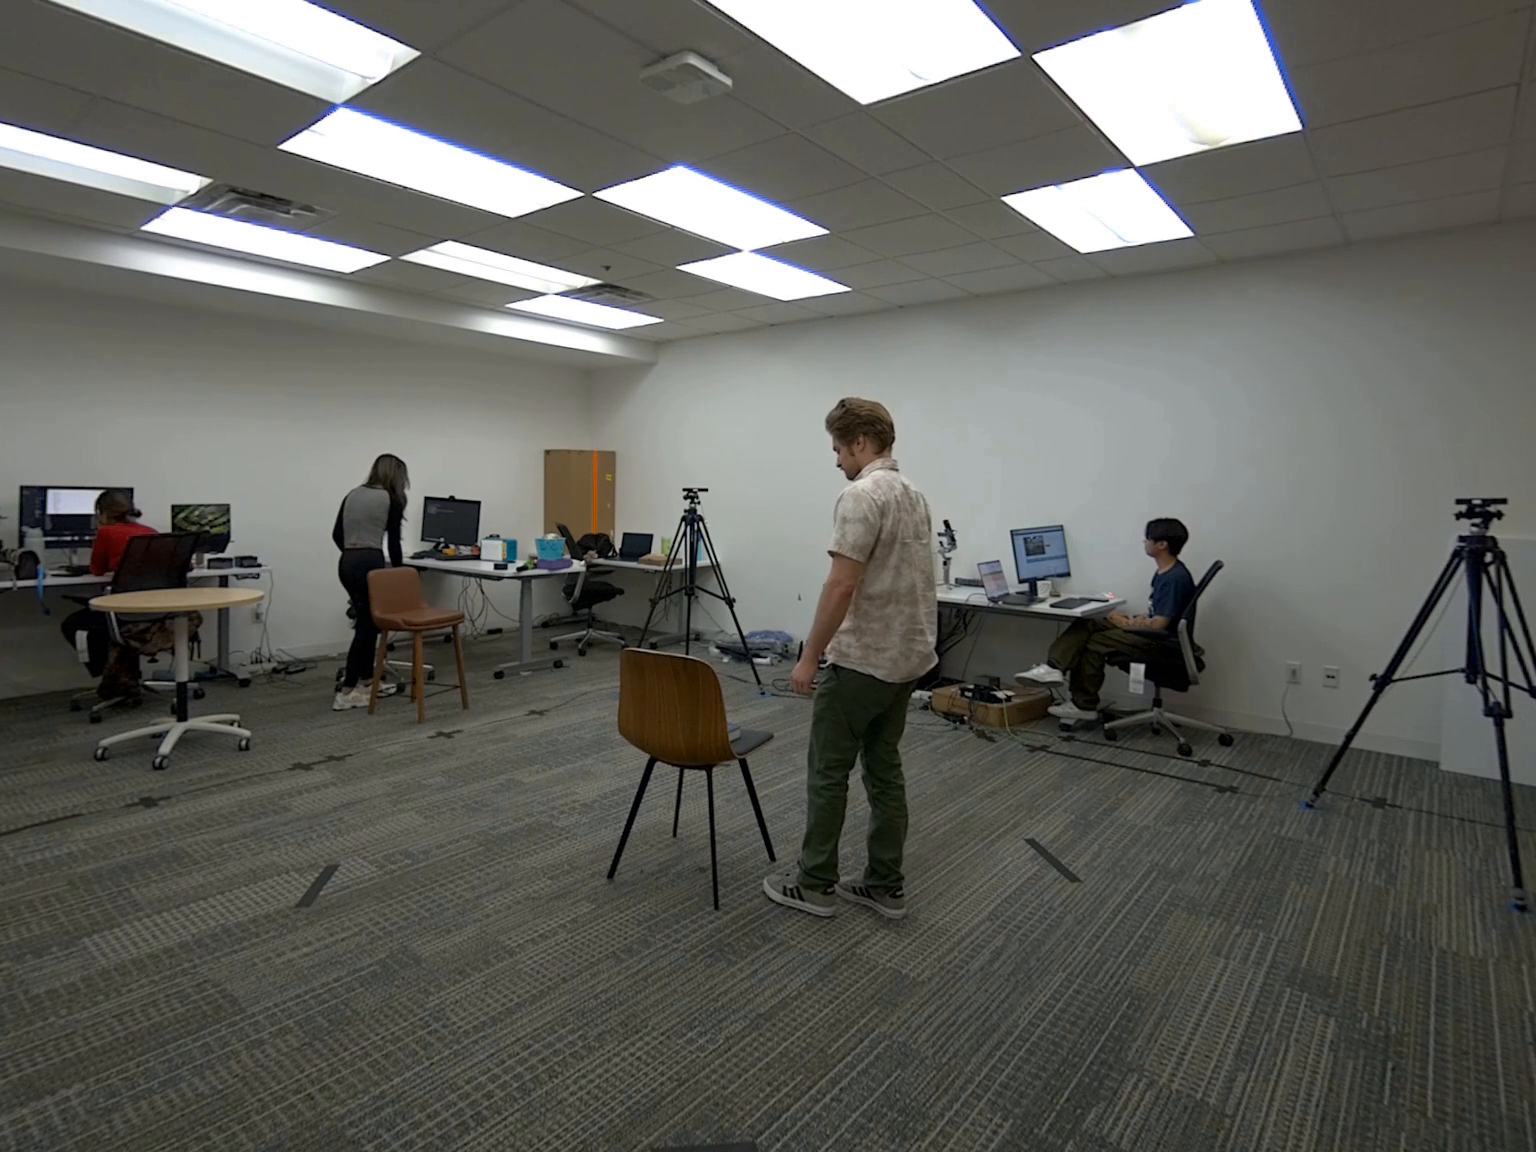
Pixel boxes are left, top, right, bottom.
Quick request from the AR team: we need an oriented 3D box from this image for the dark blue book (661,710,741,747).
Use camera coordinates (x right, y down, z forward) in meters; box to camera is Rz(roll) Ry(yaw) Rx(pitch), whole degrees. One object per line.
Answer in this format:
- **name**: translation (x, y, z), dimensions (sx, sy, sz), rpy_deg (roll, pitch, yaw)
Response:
- **dark blue book**: translation (-0.252, 0.560, 3.111), dimensions (0.253, 0.045, 0.159), rpy_deg (6, 10, 37)
